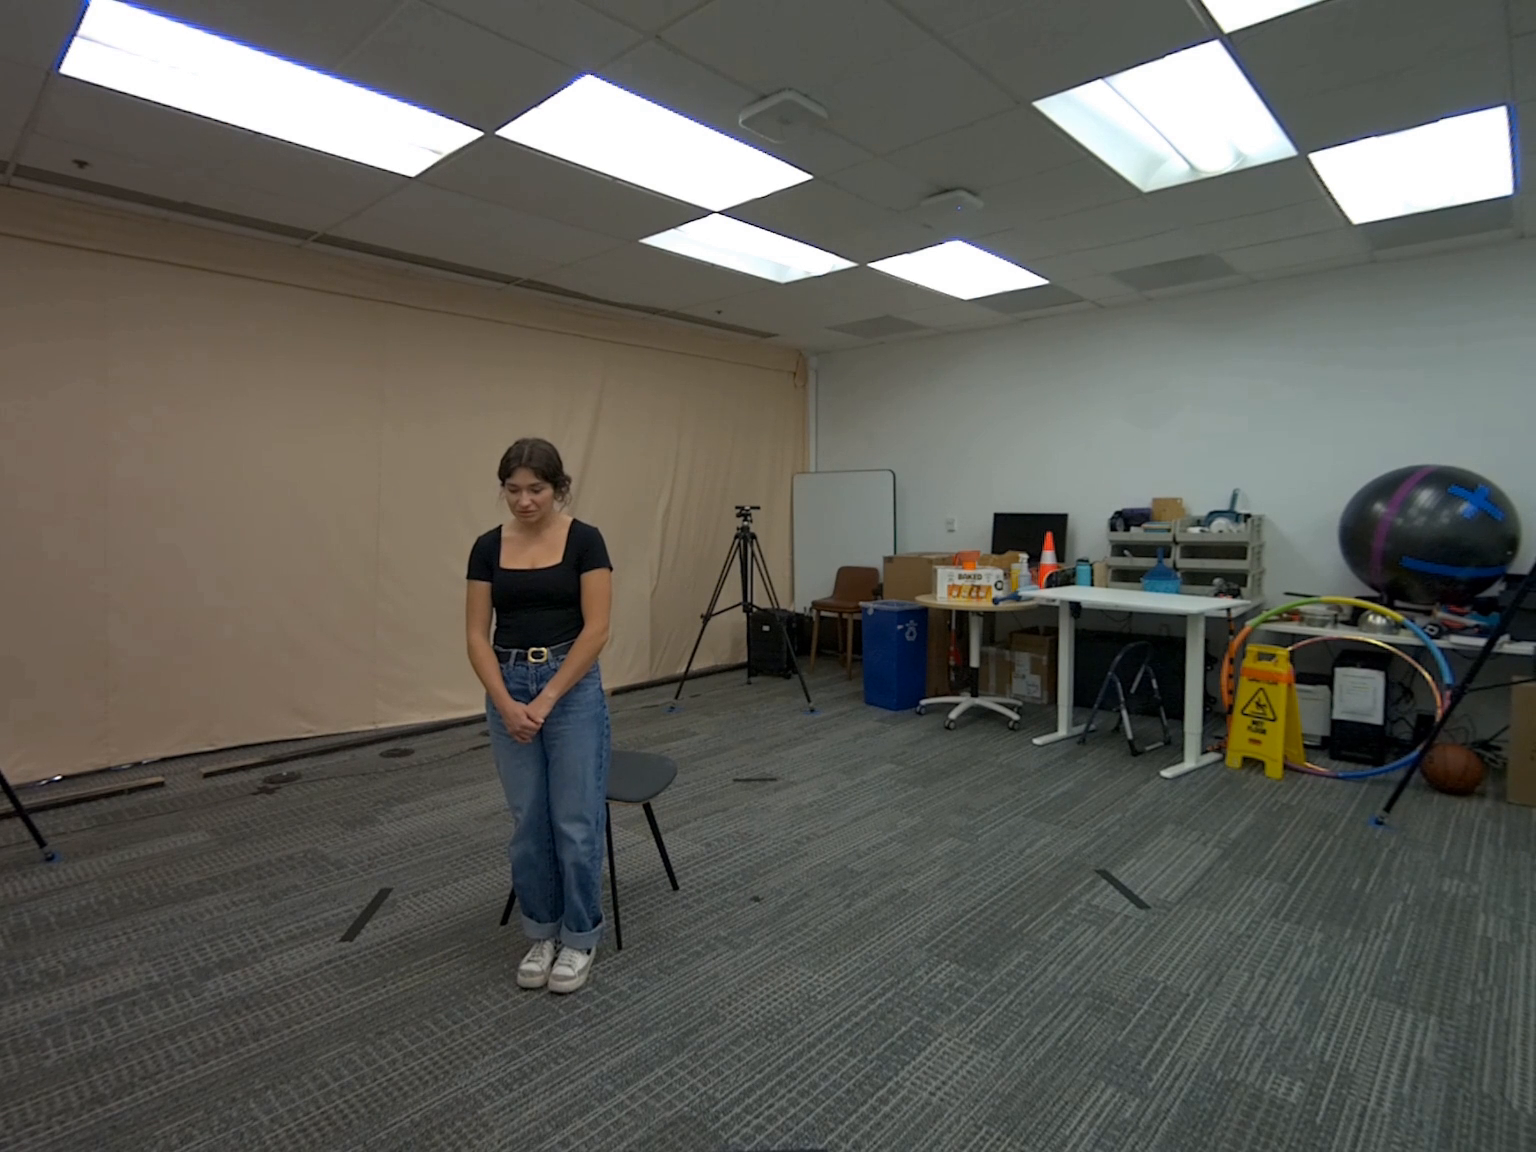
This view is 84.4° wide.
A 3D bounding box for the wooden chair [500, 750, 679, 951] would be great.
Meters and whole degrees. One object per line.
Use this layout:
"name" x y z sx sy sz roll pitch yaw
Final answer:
"wooden chair" -0.602 0.728 2.904 0.534 0.876 0.469 -4 2 20
